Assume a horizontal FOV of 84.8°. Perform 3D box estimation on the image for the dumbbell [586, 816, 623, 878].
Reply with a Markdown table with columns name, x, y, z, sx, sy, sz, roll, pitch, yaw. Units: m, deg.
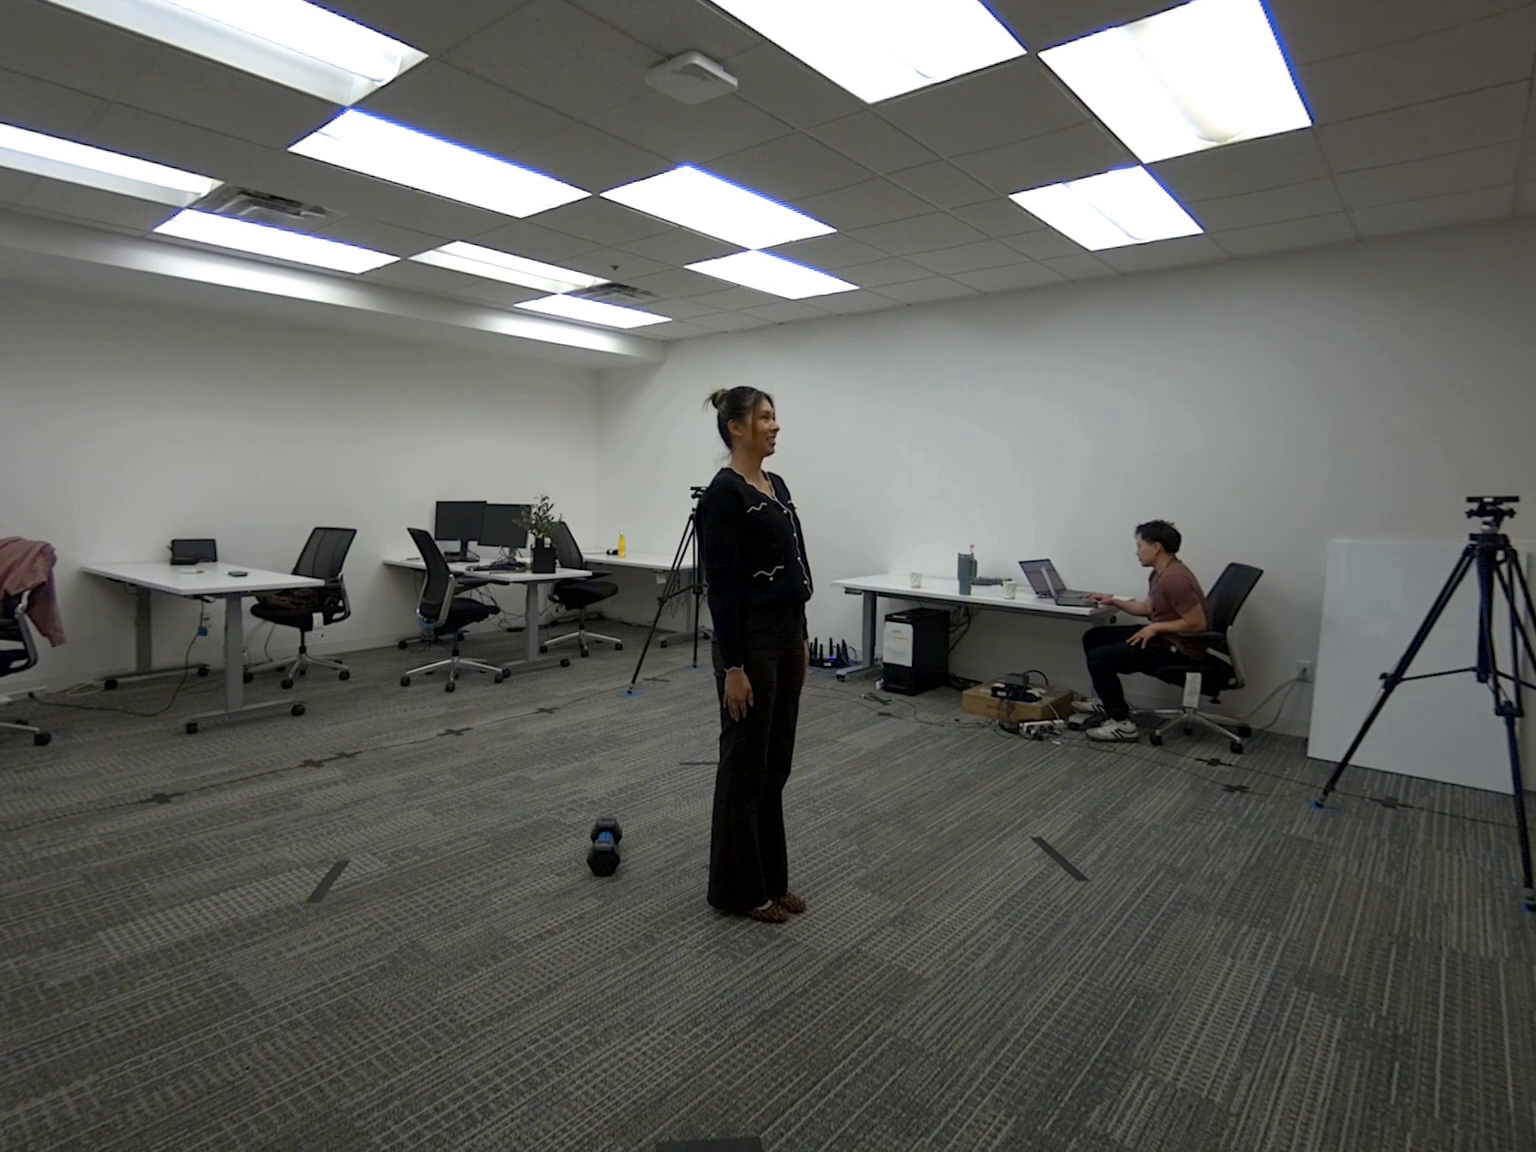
| name | x | y | z | sx | sy | sz | roll | pitch | yaw |
| --- | --- | --- | --- | --- | --- | --- | --- | --- | --- |
| dumbbell | -0.617 | 1.001 | 3.159 | 0.108 | 0.122 | 0.297 | -28 | 9 | -5 |
